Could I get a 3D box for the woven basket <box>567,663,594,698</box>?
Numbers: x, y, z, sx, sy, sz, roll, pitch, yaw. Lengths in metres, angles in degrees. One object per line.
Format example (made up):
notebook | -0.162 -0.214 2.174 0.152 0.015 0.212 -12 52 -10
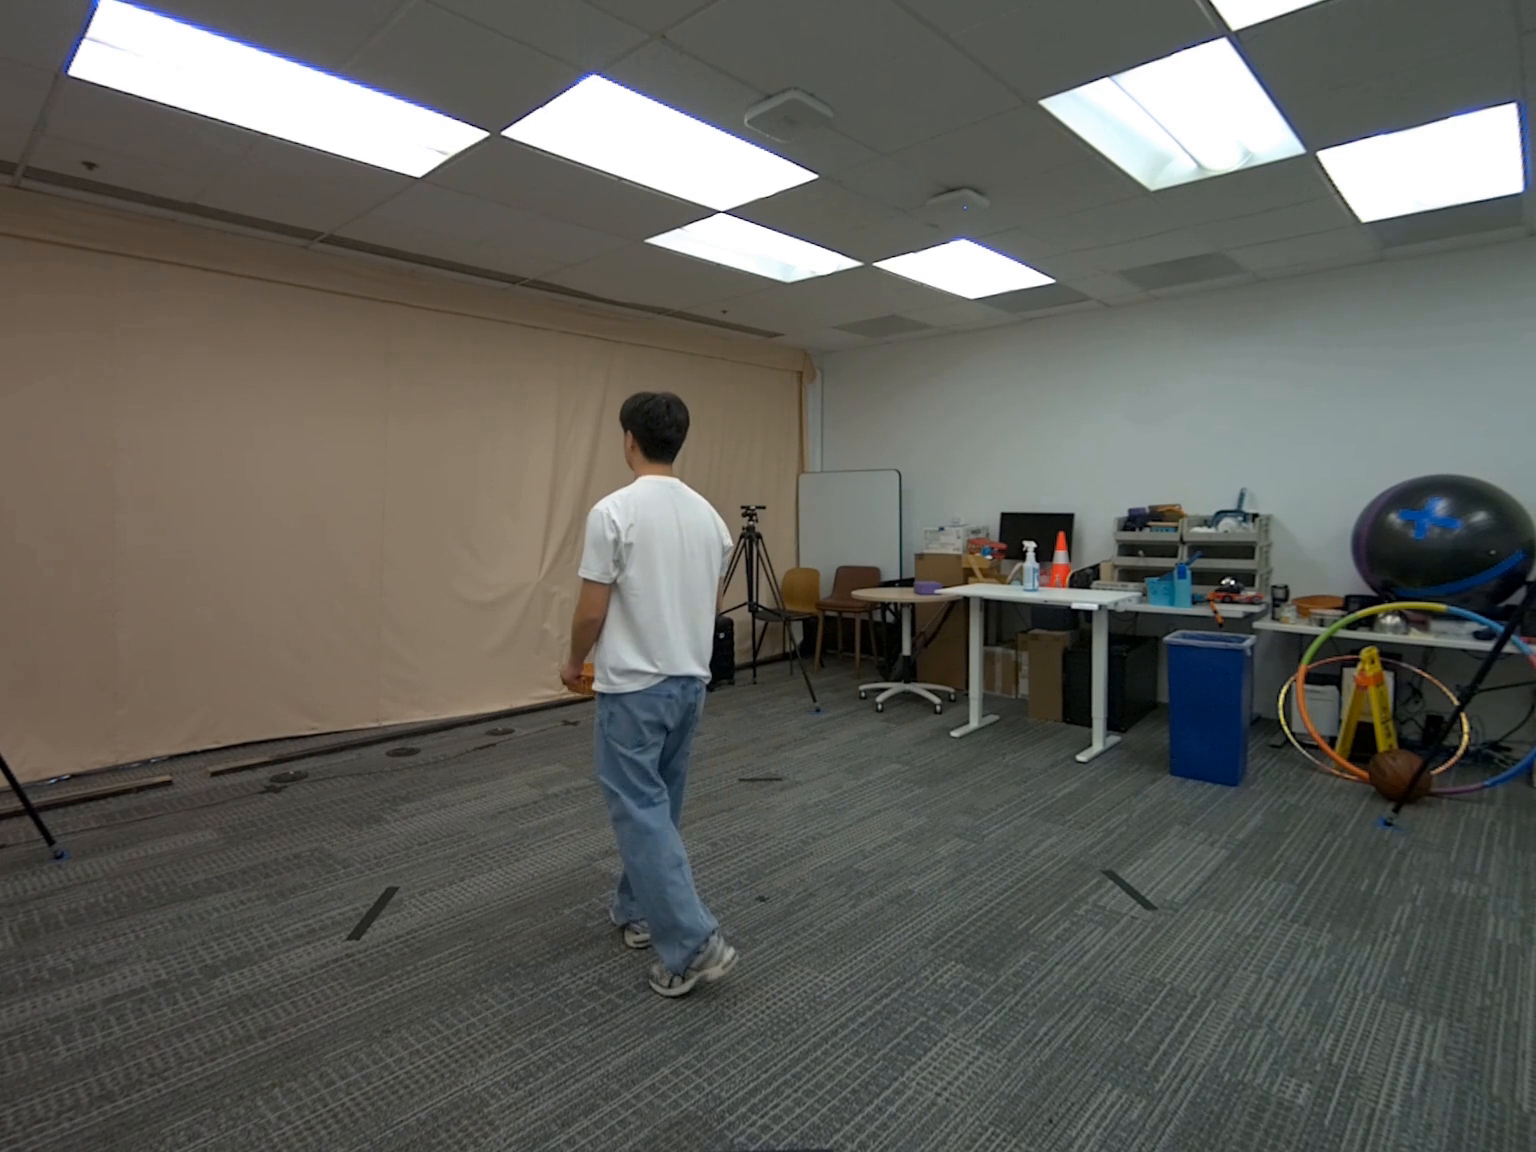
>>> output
woven basket | -0.525 0.348 2.820 0.340 0.073 0.260 2 3 -33
